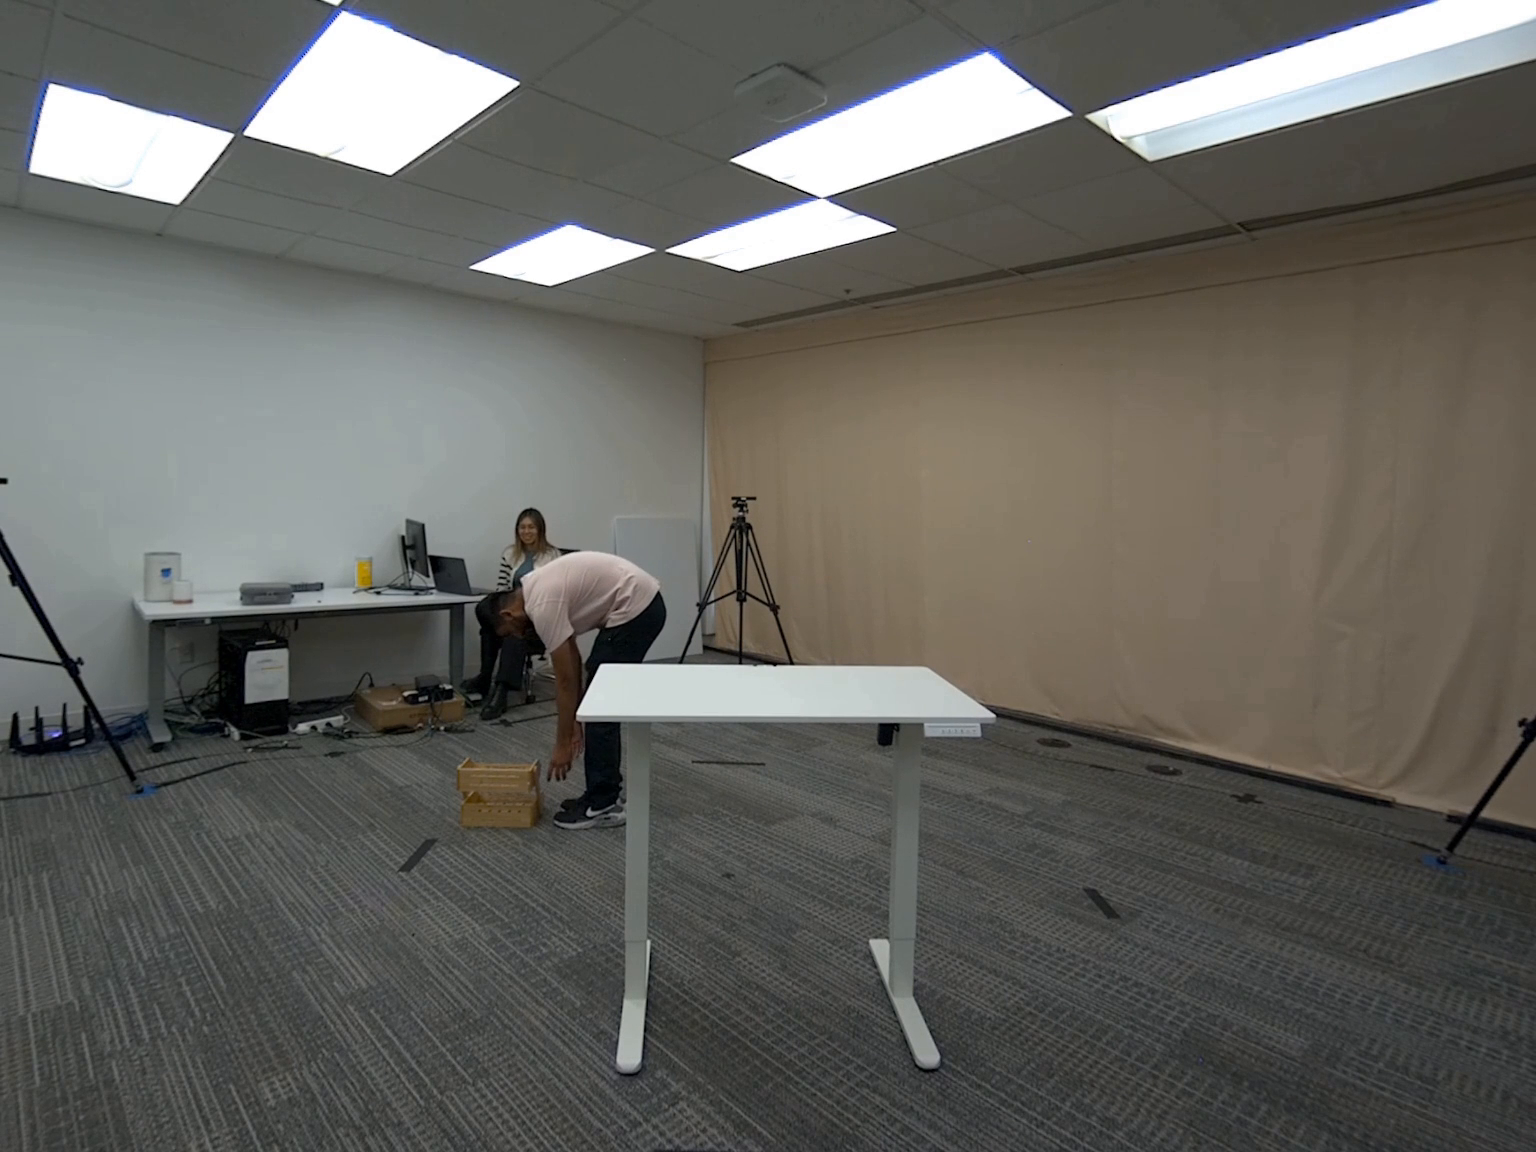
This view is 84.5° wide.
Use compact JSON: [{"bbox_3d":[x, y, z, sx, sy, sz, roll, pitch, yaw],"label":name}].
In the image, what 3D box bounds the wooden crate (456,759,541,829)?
[{"bbox_3d":[-1.141,0.906,3.602,0.324,0.272,0.303,2,5,-2],"label":"wooden crate"}]
